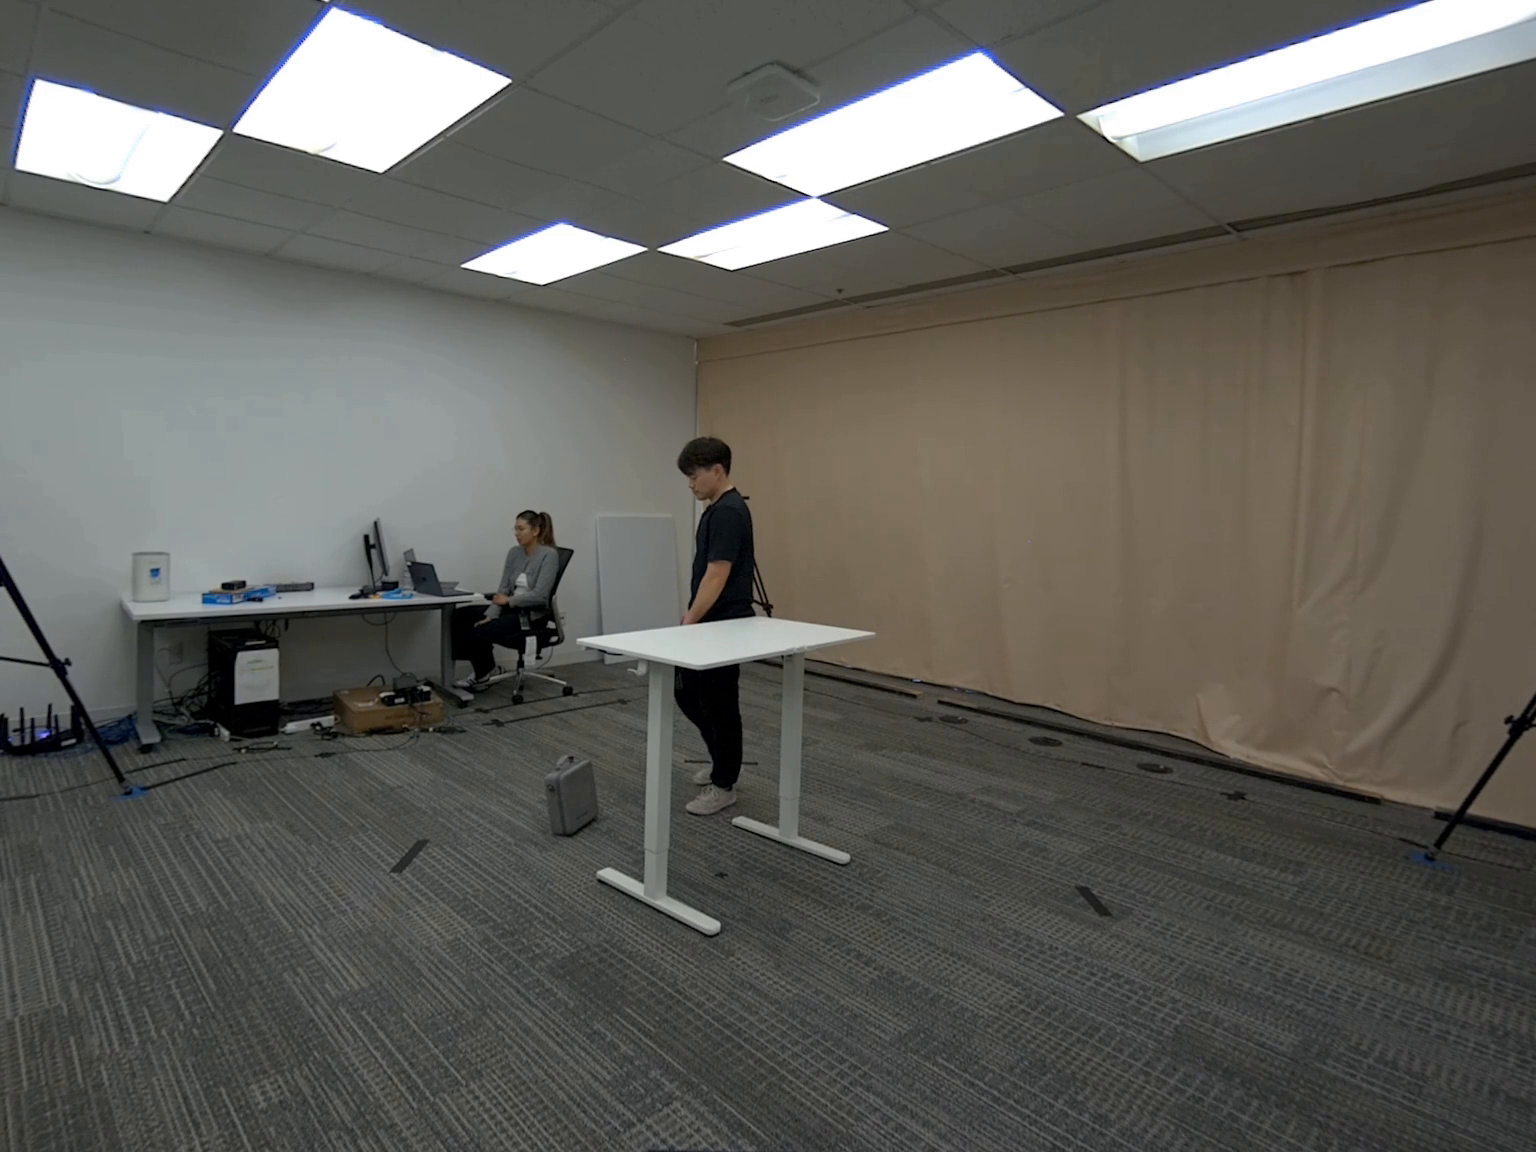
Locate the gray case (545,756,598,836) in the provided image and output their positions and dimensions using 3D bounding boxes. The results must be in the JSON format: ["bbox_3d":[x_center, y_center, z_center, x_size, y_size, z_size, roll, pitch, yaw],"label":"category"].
[{"bbox_3d":[-0.825,0.913,3.528,0.105,0.261,0.253,-8,0,18],"label":"gray case"}]
